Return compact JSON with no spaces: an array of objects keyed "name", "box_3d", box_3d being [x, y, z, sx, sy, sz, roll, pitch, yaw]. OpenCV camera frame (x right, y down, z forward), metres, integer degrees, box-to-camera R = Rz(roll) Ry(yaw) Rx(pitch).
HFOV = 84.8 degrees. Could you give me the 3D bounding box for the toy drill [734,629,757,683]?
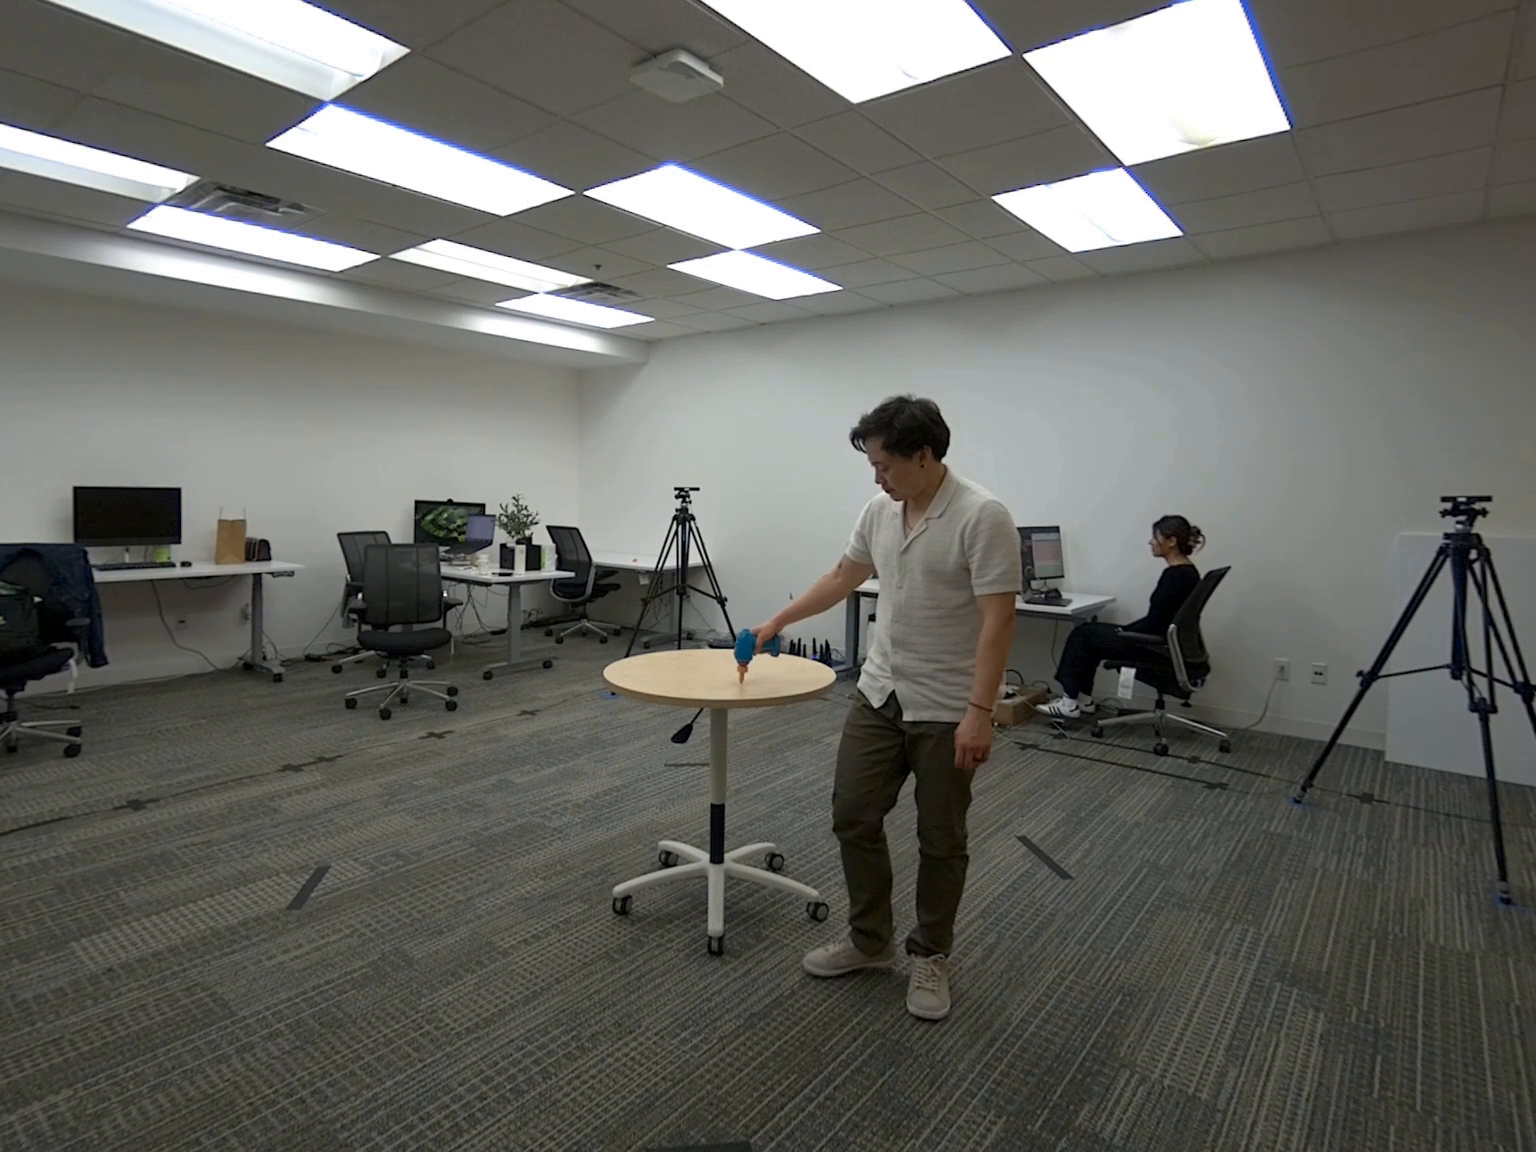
[{"name":"toy drill","box_3d":[-0.043,0.249,2.632,0.143,0.170,0.062,4,-5,-22]}]
